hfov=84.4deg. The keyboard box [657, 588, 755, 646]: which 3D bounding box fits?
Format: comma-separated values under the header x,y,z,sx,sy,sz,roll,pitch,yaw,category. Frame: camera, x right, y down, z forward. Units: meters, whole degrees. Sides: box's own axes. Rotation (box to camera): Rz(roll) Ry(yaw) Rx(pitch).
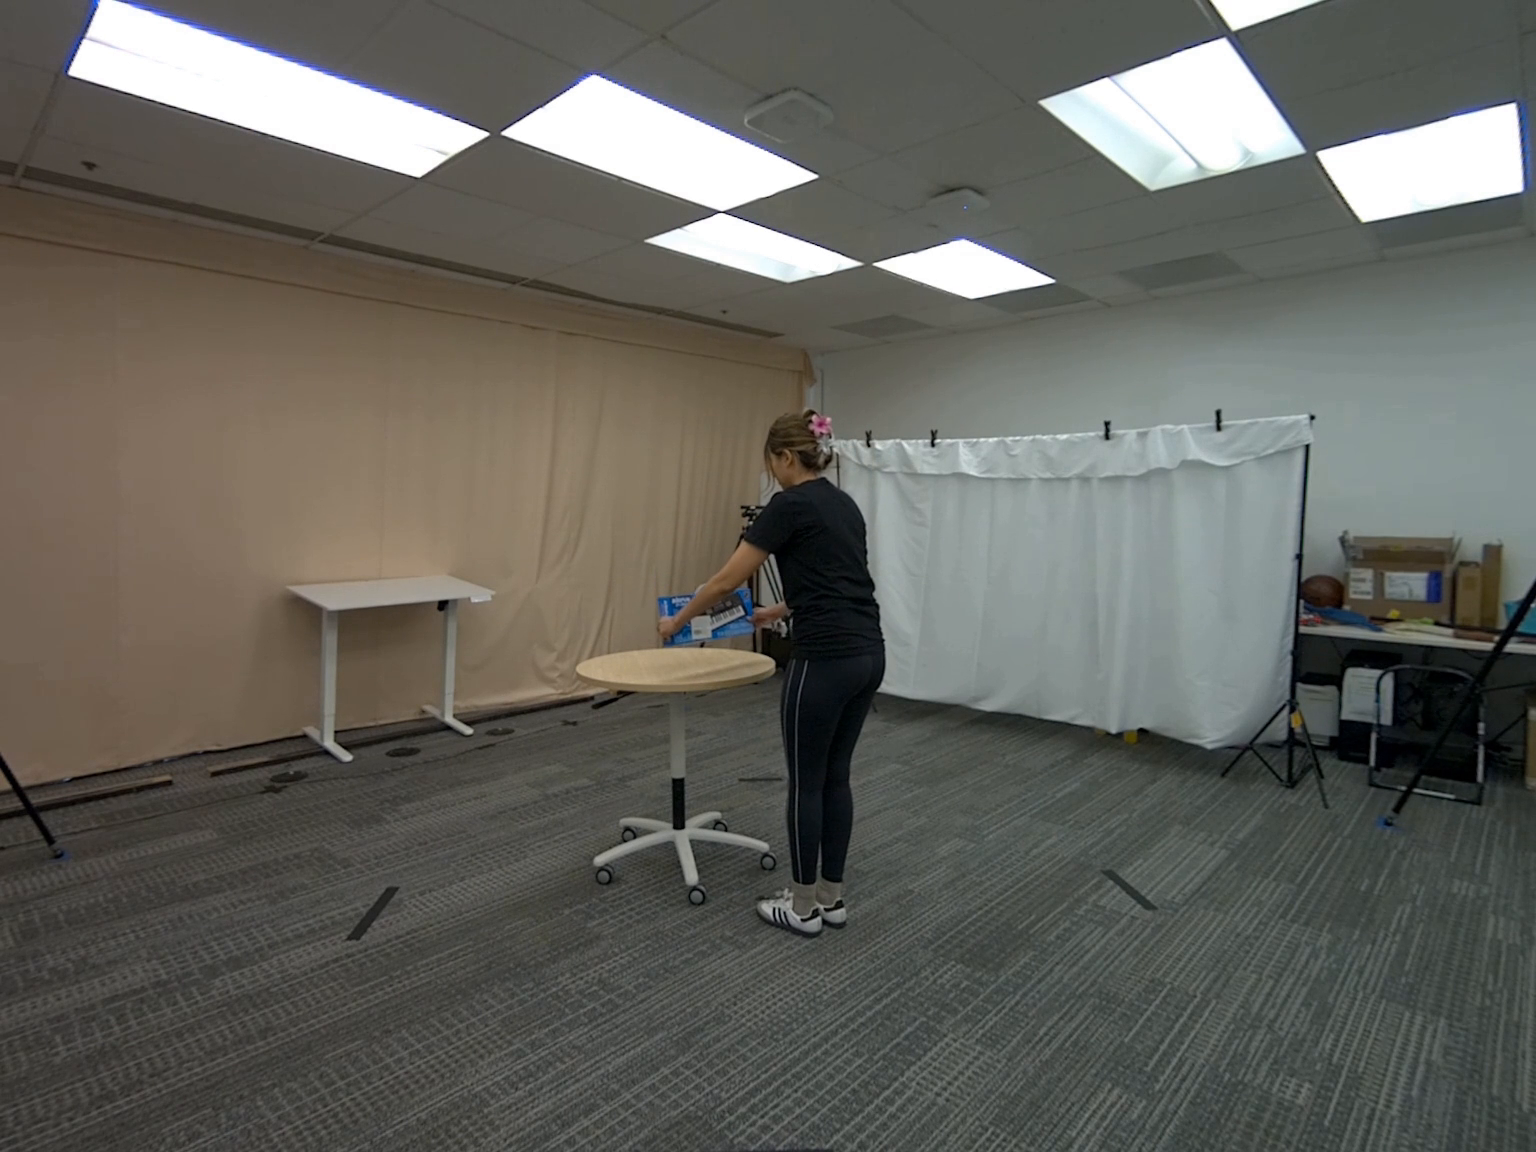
x,y,z,sx,sy,sz,roll,pitch,yaw,category
-0.215,0.149,3.100,0.061,0.176,0.423,-8,-2,41,keyboard box
